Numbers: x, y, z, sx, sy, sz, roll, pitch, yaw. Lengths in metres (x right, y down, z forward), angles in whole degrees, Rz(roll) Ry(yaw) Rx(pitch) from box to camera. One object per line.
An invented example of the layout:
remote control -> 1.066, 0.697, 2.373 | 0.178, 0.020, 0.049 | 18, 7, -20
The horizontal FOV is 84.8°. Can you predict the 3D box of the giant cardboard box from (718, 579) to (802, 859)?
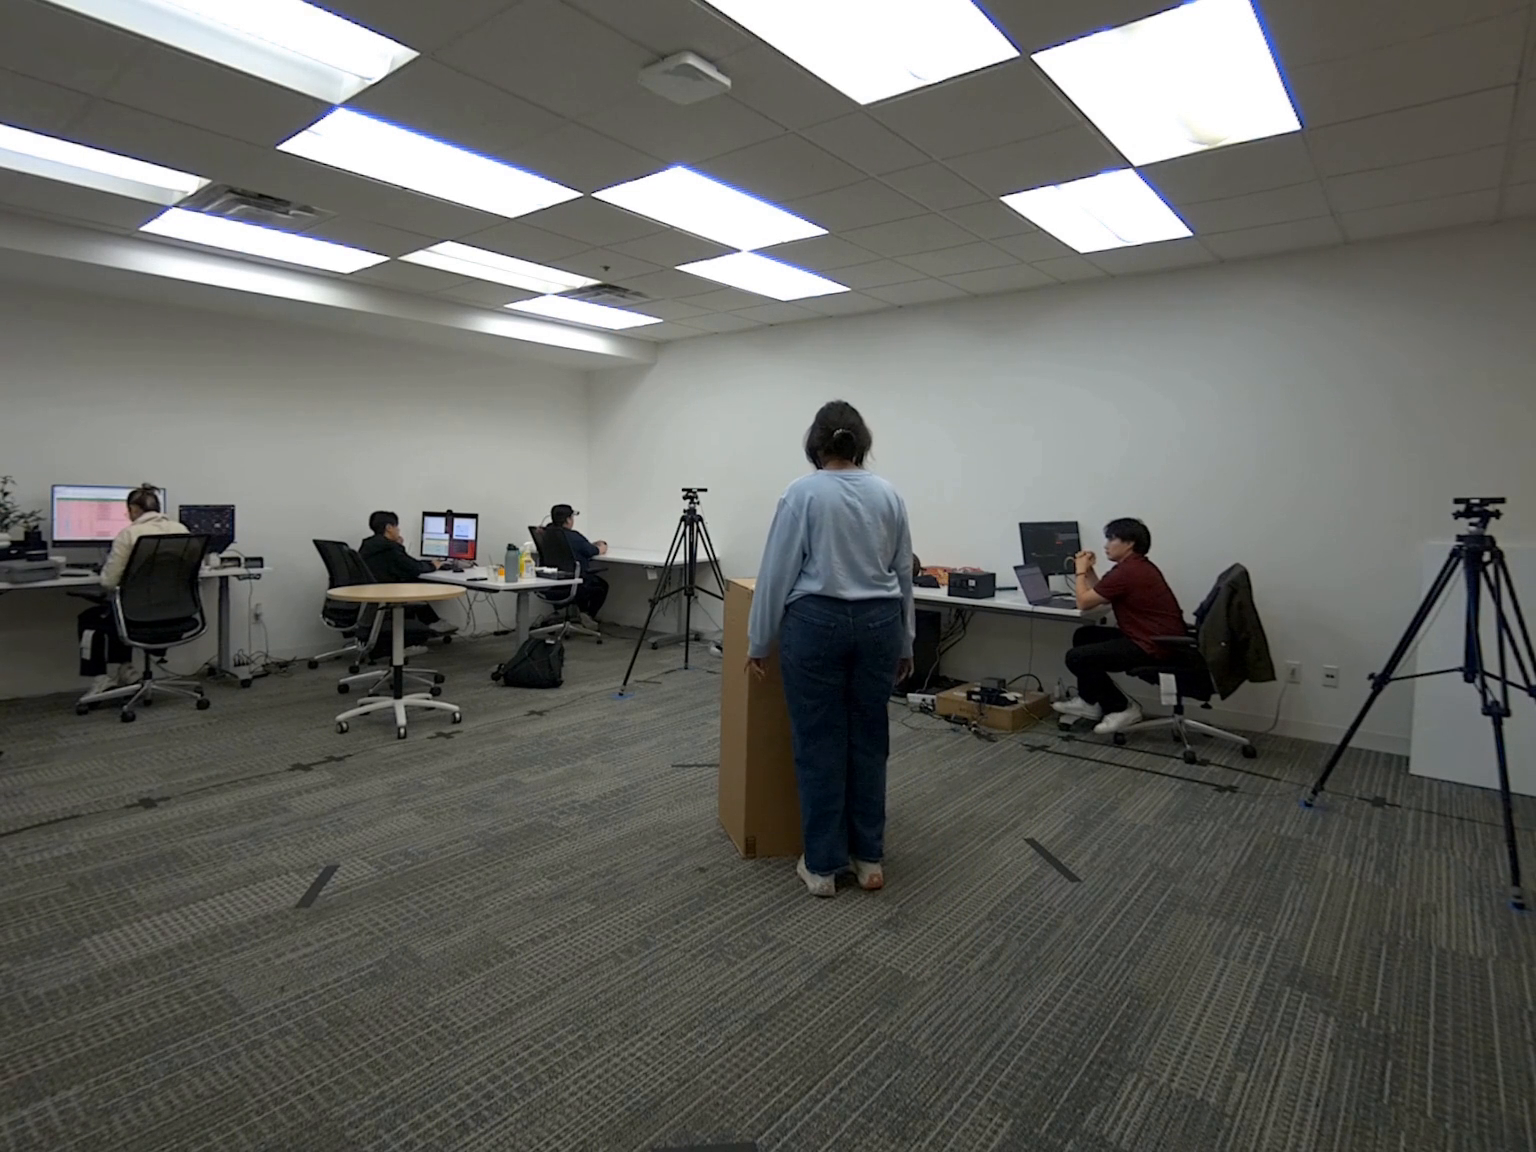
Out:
giant cardboard box -> 0.125, 0.534, 3.449 | 0.575, 1.024, 0.455 | 1, 4, -14
